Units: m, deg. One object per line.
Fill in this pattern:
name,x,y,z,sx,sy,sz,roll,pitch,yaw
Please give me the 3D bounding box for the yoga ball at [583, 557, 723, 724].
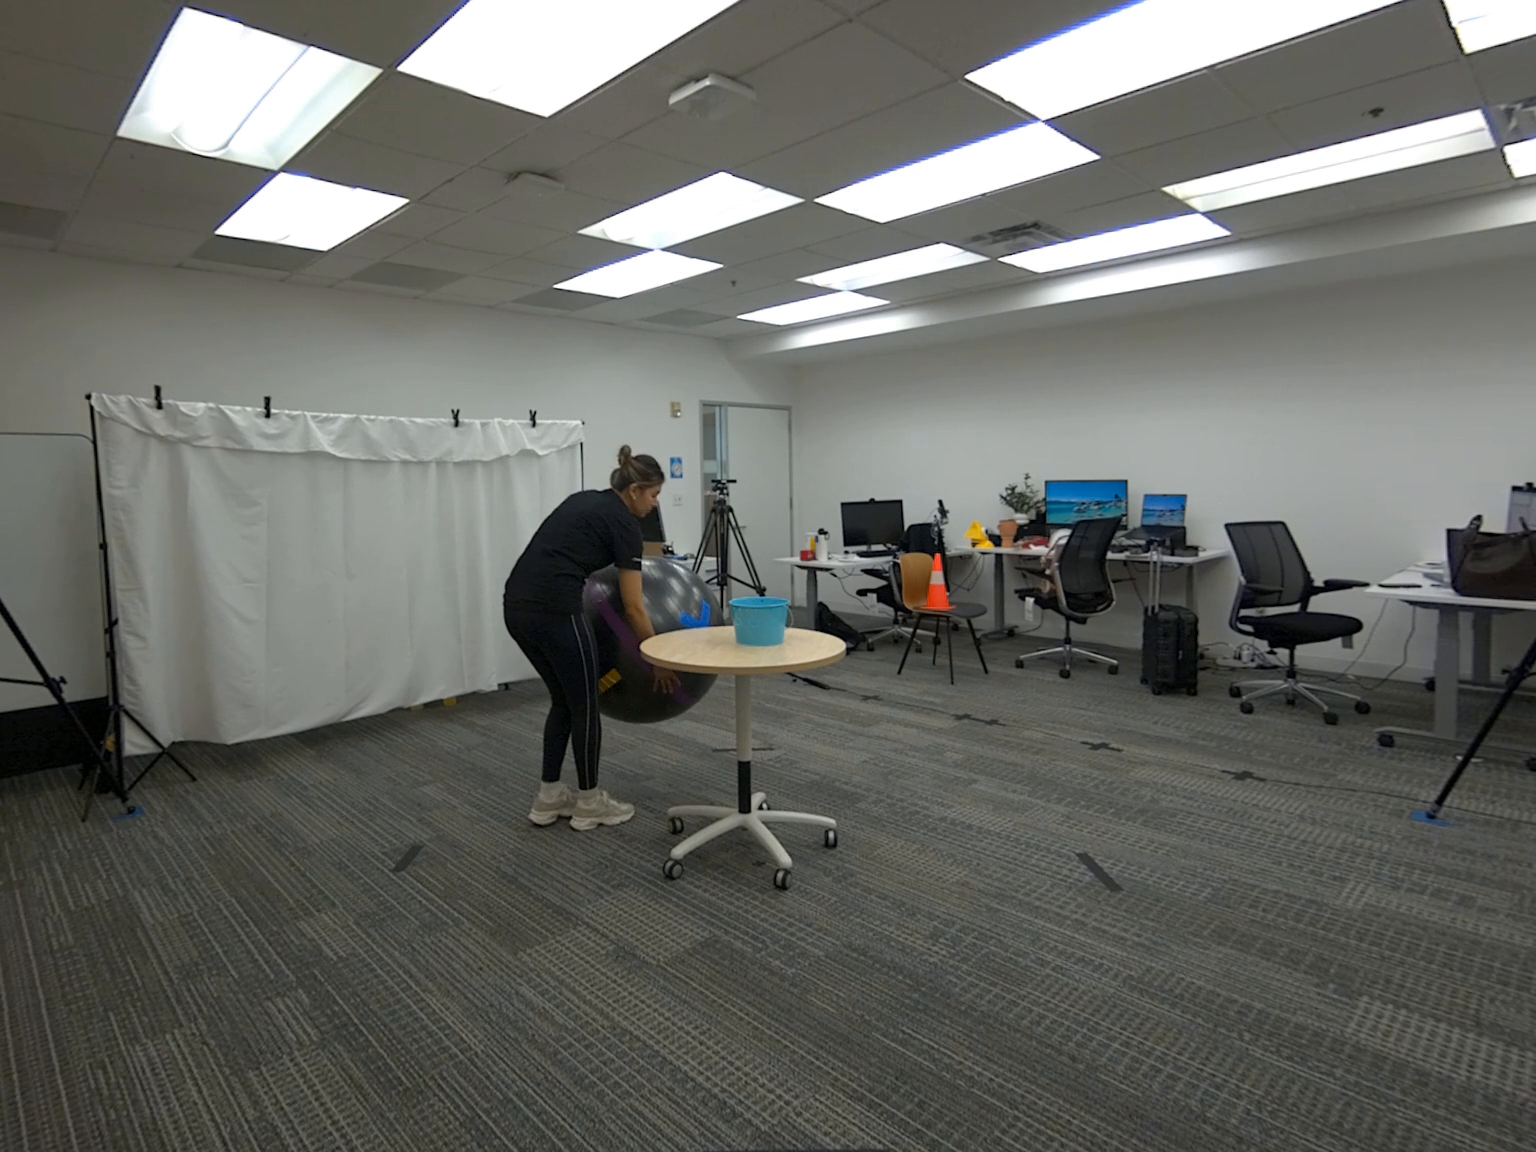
yoga ball,-0.570,0.290,3.895,0.757,0.755,0.762,-1,5,-2
